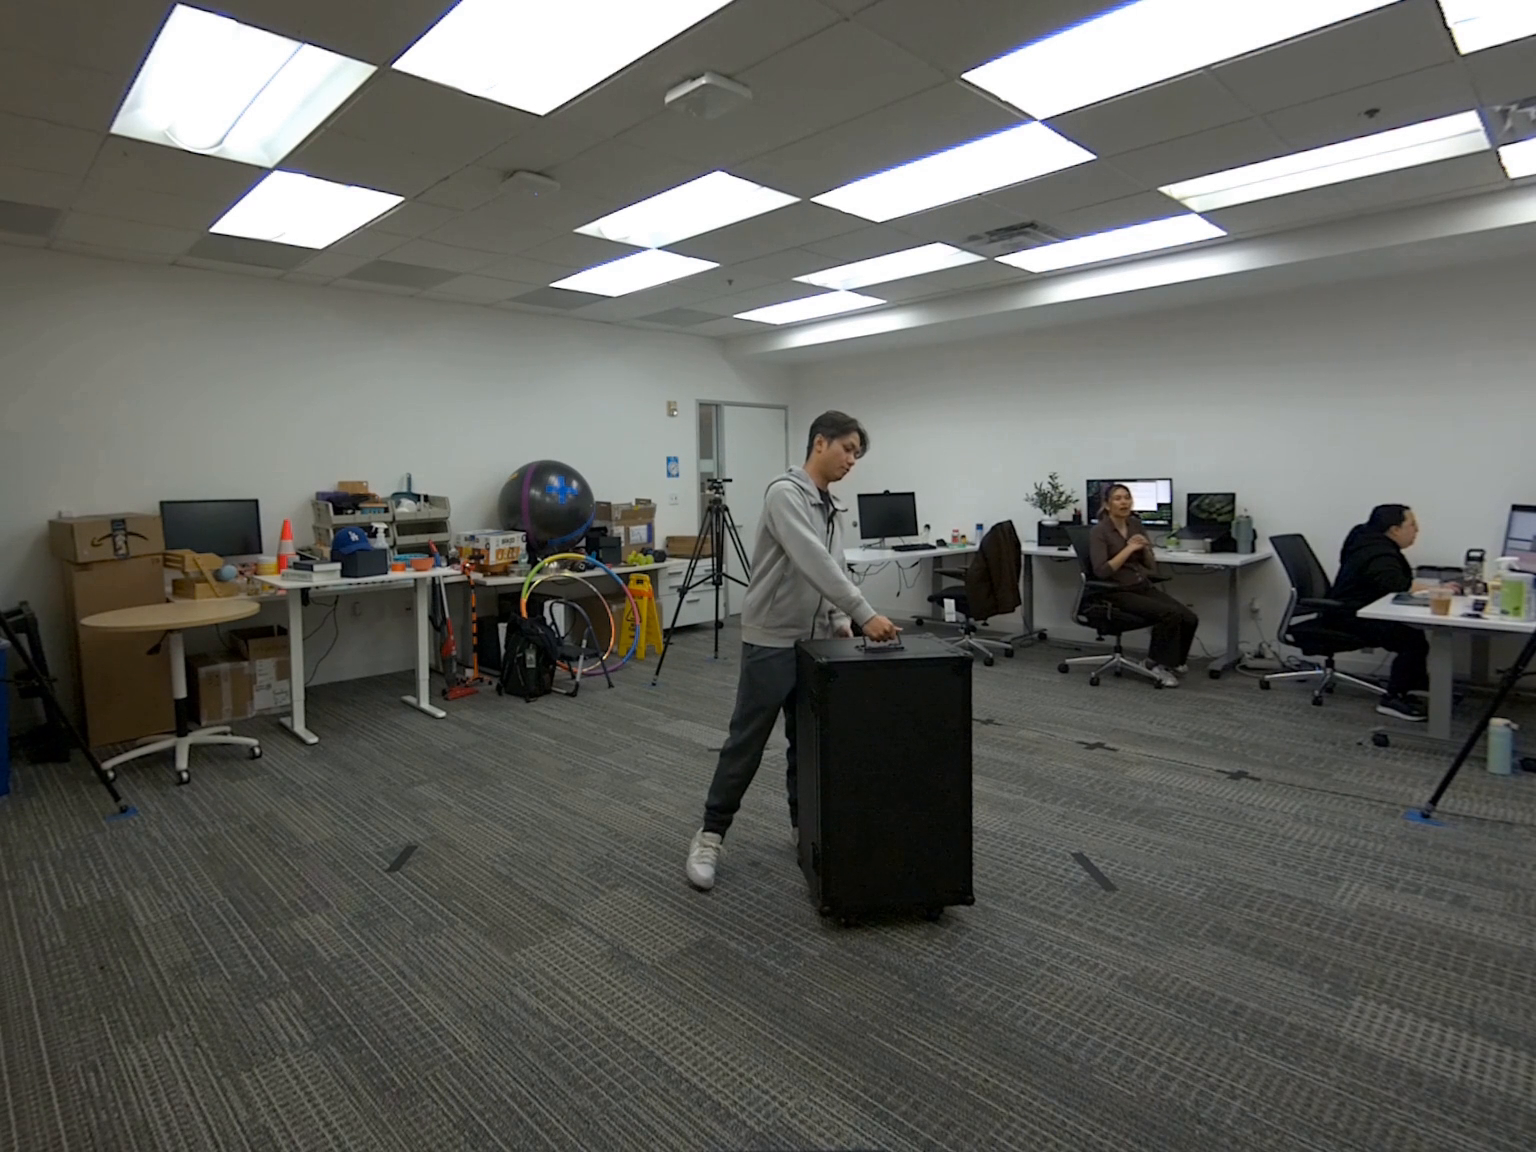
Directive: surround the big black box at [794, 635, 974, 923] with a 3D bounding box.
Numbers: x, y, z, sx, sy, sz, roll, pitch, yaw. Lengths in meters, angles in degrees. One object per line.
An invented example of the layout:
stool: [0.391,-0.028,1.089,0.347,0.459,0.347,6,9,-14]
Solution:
big black box: [0.367,0.652,2.765,0.517,0.858,0.401,-3,4,-8]
